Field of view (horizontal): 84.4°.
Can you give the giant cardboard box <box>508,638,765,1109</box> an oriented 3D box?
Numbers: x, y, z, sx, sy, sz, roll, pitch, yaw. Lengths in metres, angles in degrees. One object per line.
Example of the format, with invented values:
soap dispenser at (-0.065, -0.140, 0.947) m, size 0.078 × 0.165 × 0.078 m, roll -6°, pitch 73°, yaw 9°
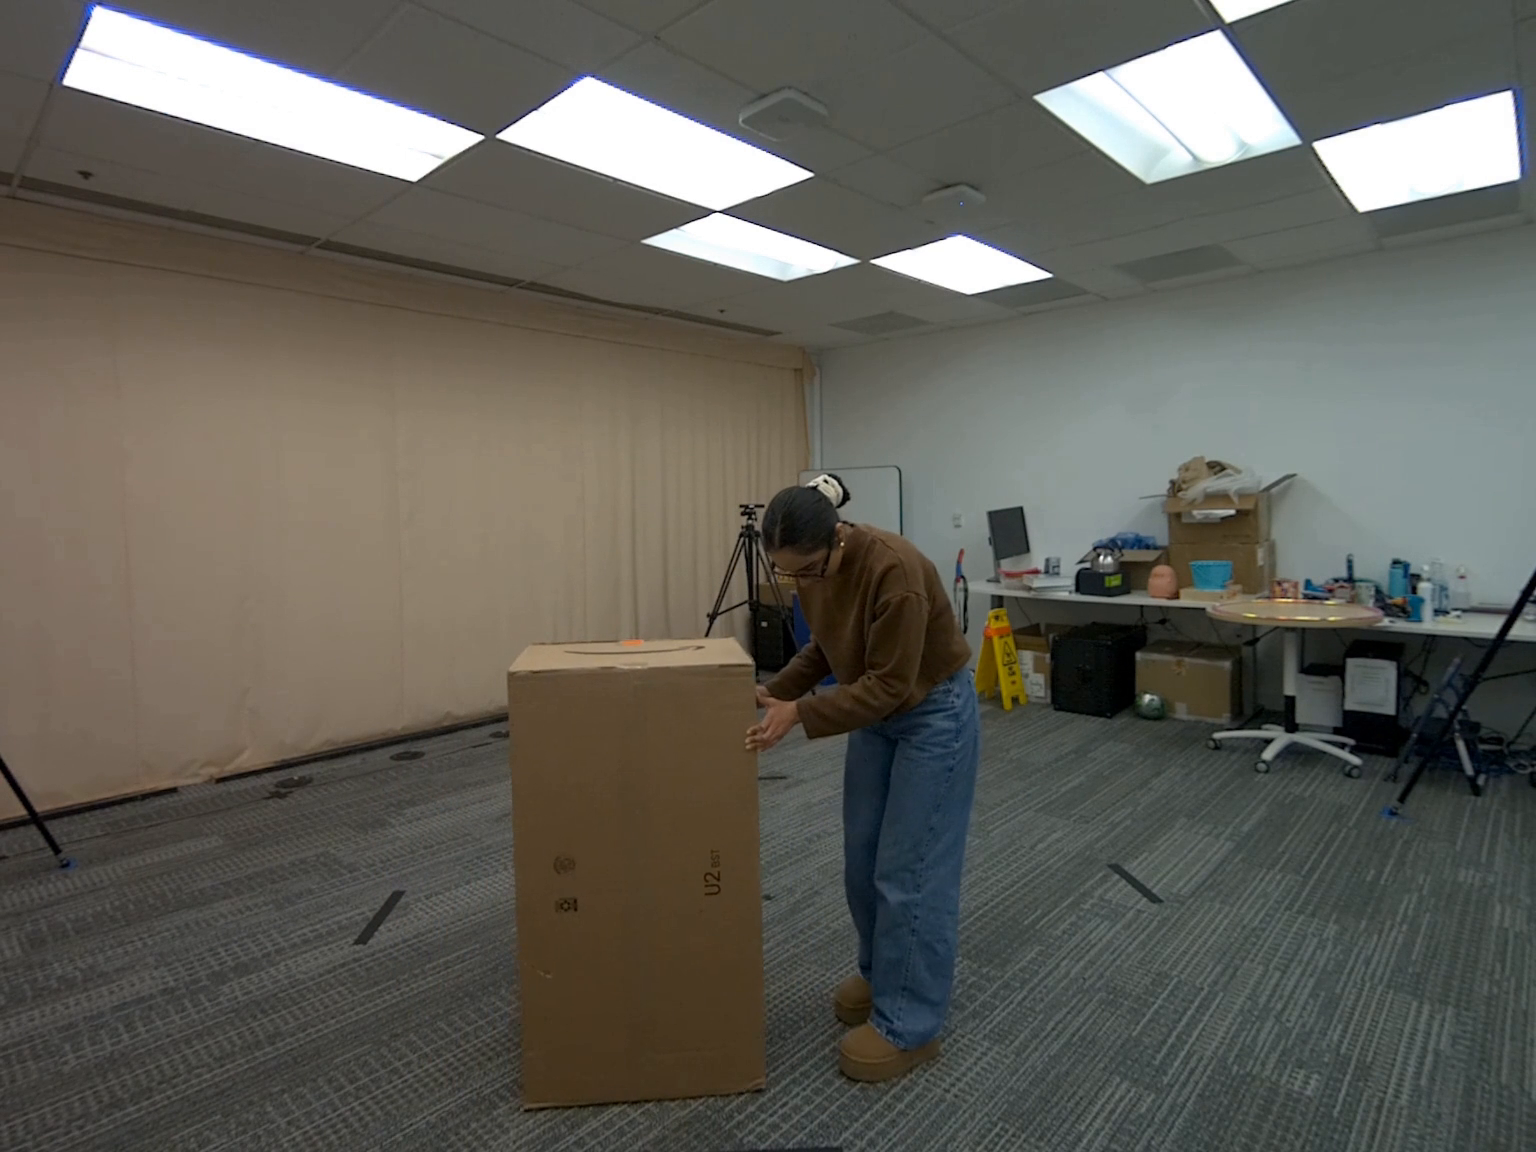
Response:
giant cardboard box at (-0.334, 0.710, 2.159) m, size 0.574 × 1.024 × 0.430 m, roll -2°, pitch 3°, yaw -6°
